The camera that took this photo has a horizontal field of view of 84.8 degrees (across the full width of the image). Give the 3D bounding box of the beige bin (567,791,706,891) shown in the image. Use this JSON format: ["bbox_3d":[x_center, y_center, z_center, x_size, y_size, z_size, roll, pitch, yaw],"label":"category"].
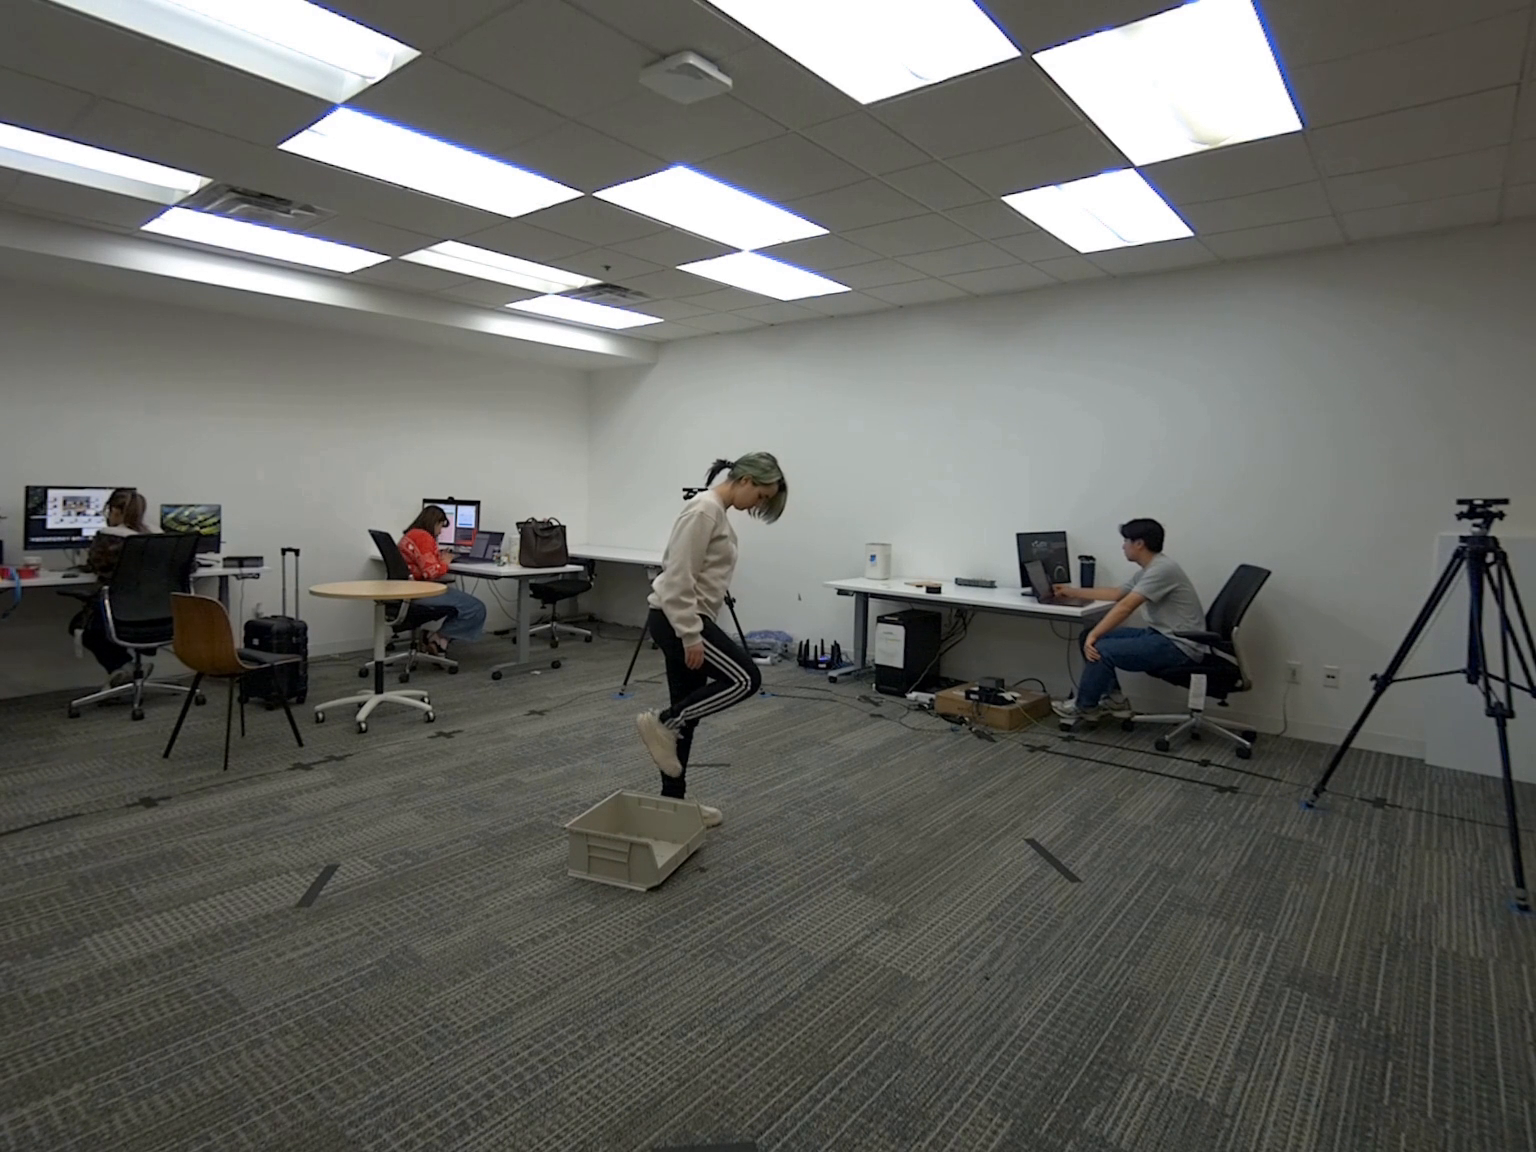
[{"bbox_3d":[-0.493,0.969,3.154,0.386,0.188,0.415,2,5,20],"label":"beige bin"}]
